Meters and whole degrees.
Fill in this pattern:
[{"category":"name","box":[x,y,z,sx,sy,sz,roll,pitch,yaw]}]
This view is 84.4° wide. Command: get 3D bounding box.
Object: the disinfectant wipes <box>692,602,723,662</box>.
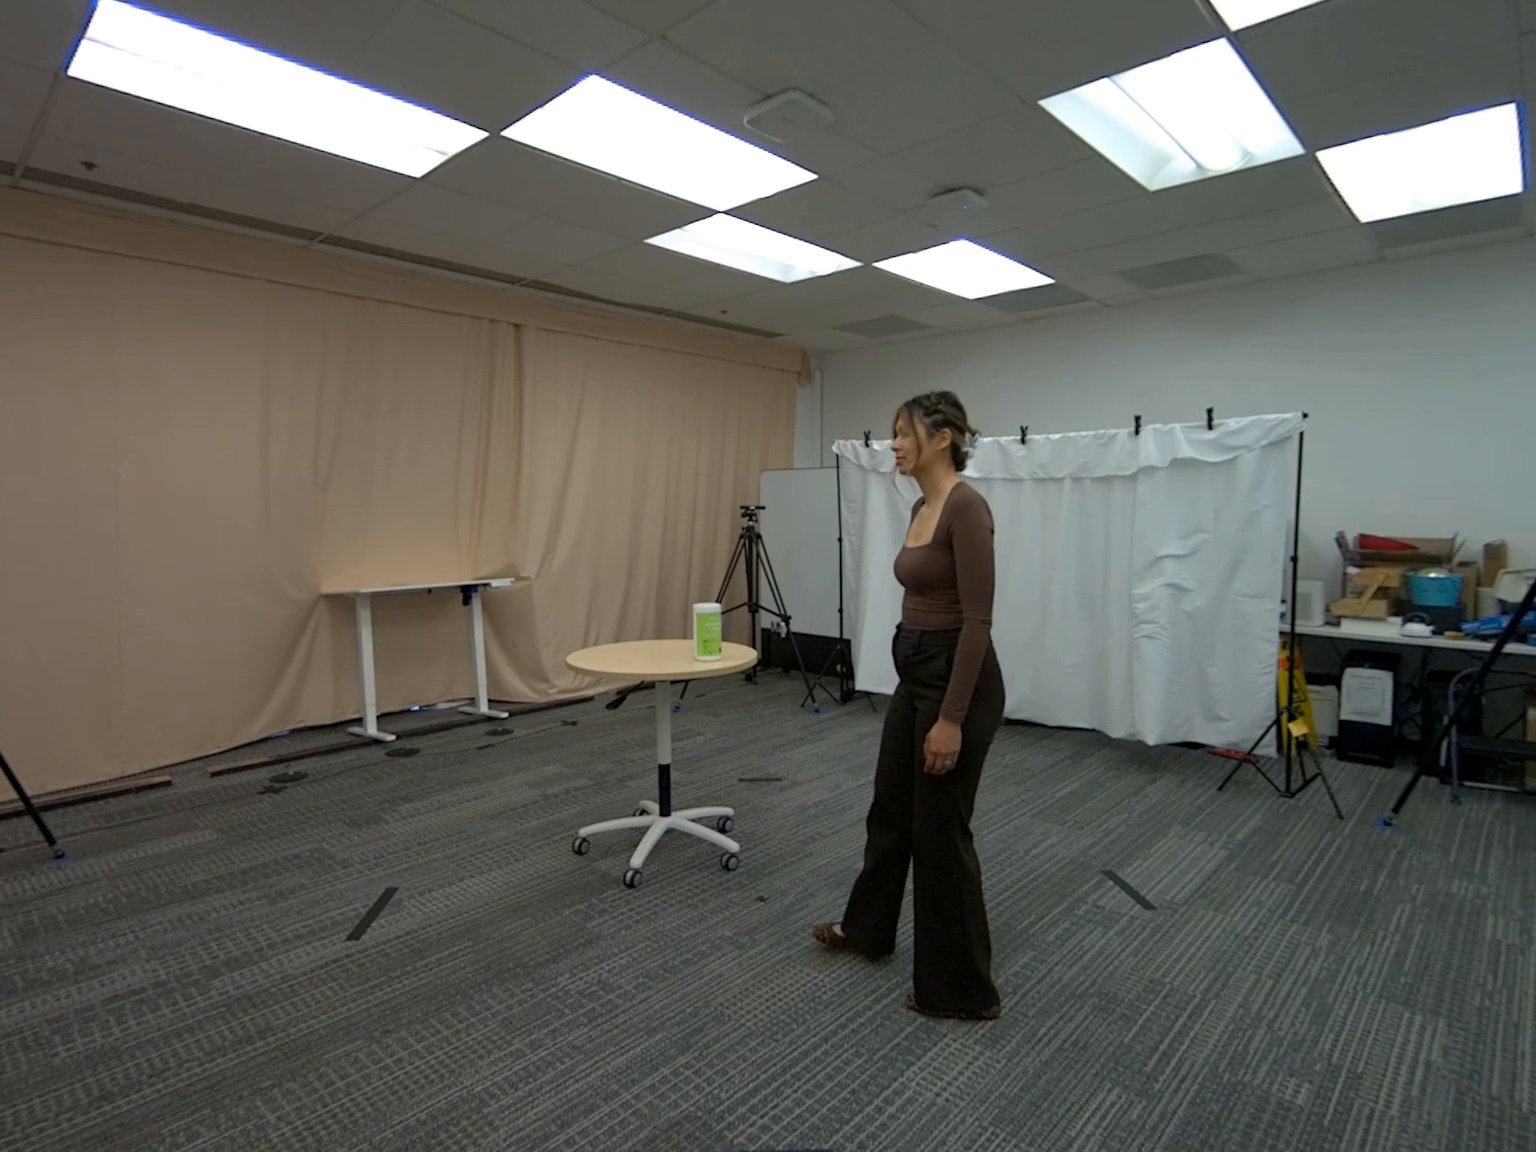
[{"category":"disinfectant wipes","box":[-0.234,0.218,3.266,0.118,0.217,0.118,0,4,-2]}]
